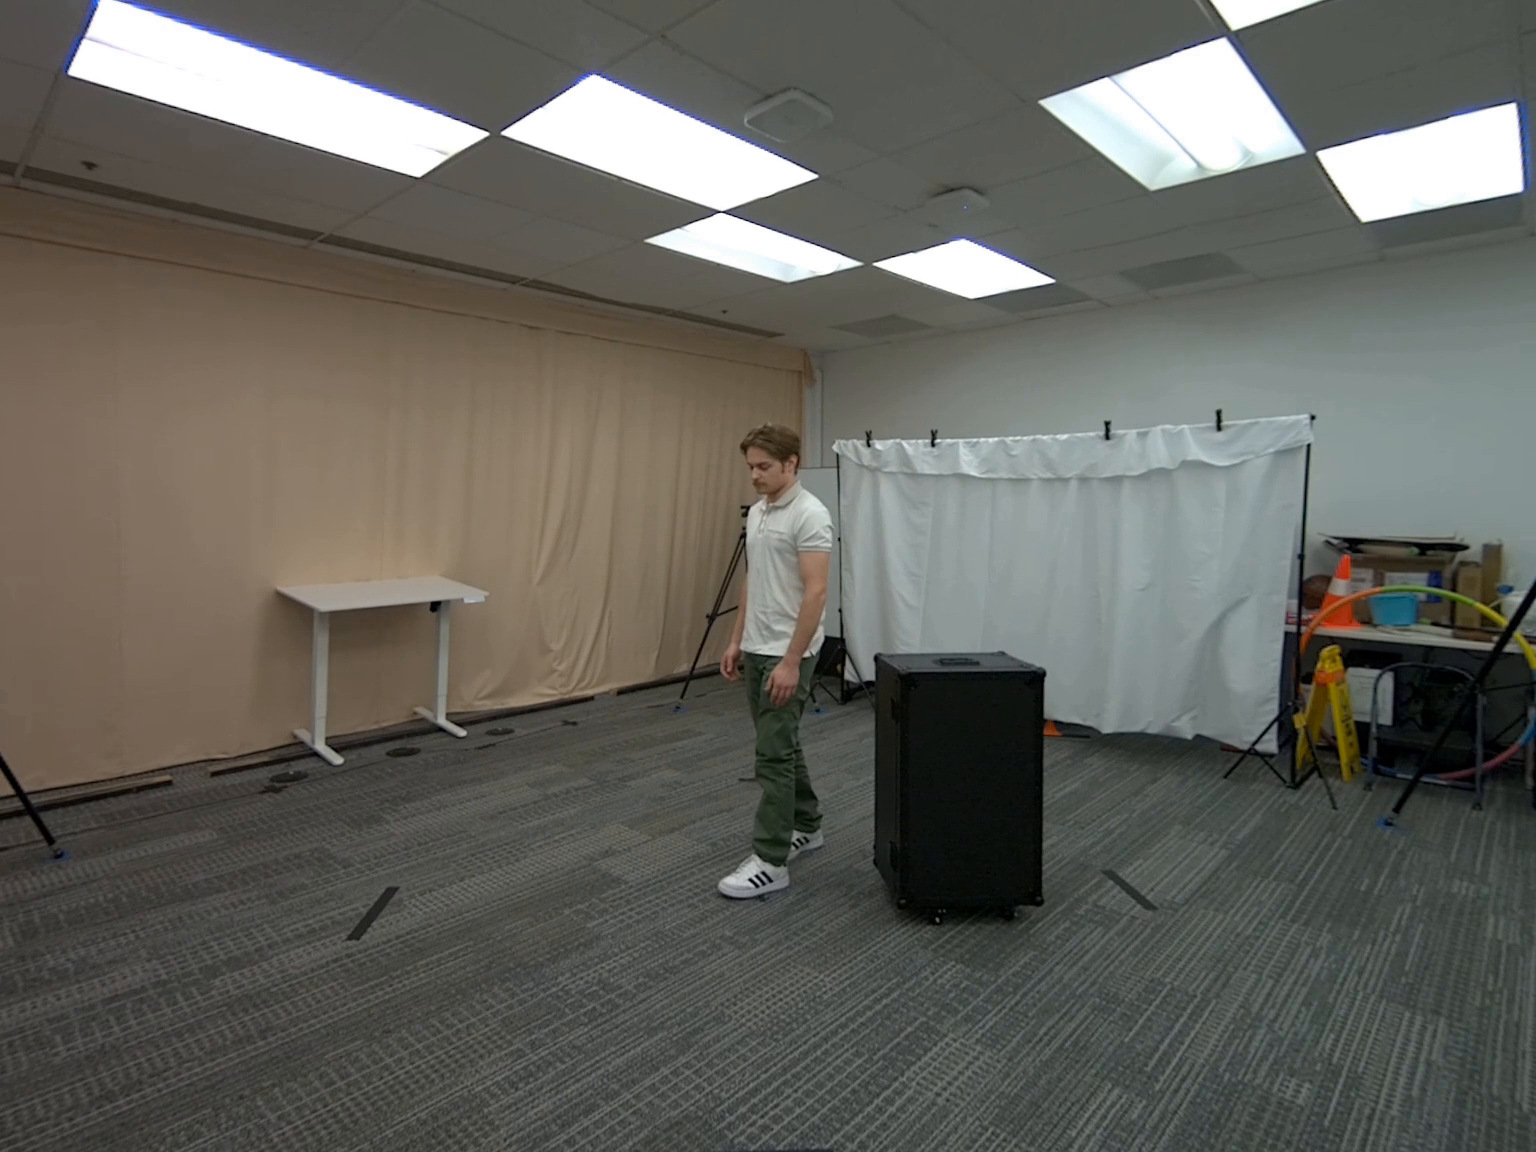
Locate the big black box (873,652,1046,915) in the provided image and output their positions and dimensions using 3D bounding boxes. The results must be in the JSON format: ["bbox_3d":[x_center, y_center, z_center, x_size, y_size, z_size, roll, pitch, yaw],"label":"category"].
[{"bbox_3d":[0.648,0.718,2.932,0.519,0.860,0.398,-1,2,-4],"label":"big black box"}]
